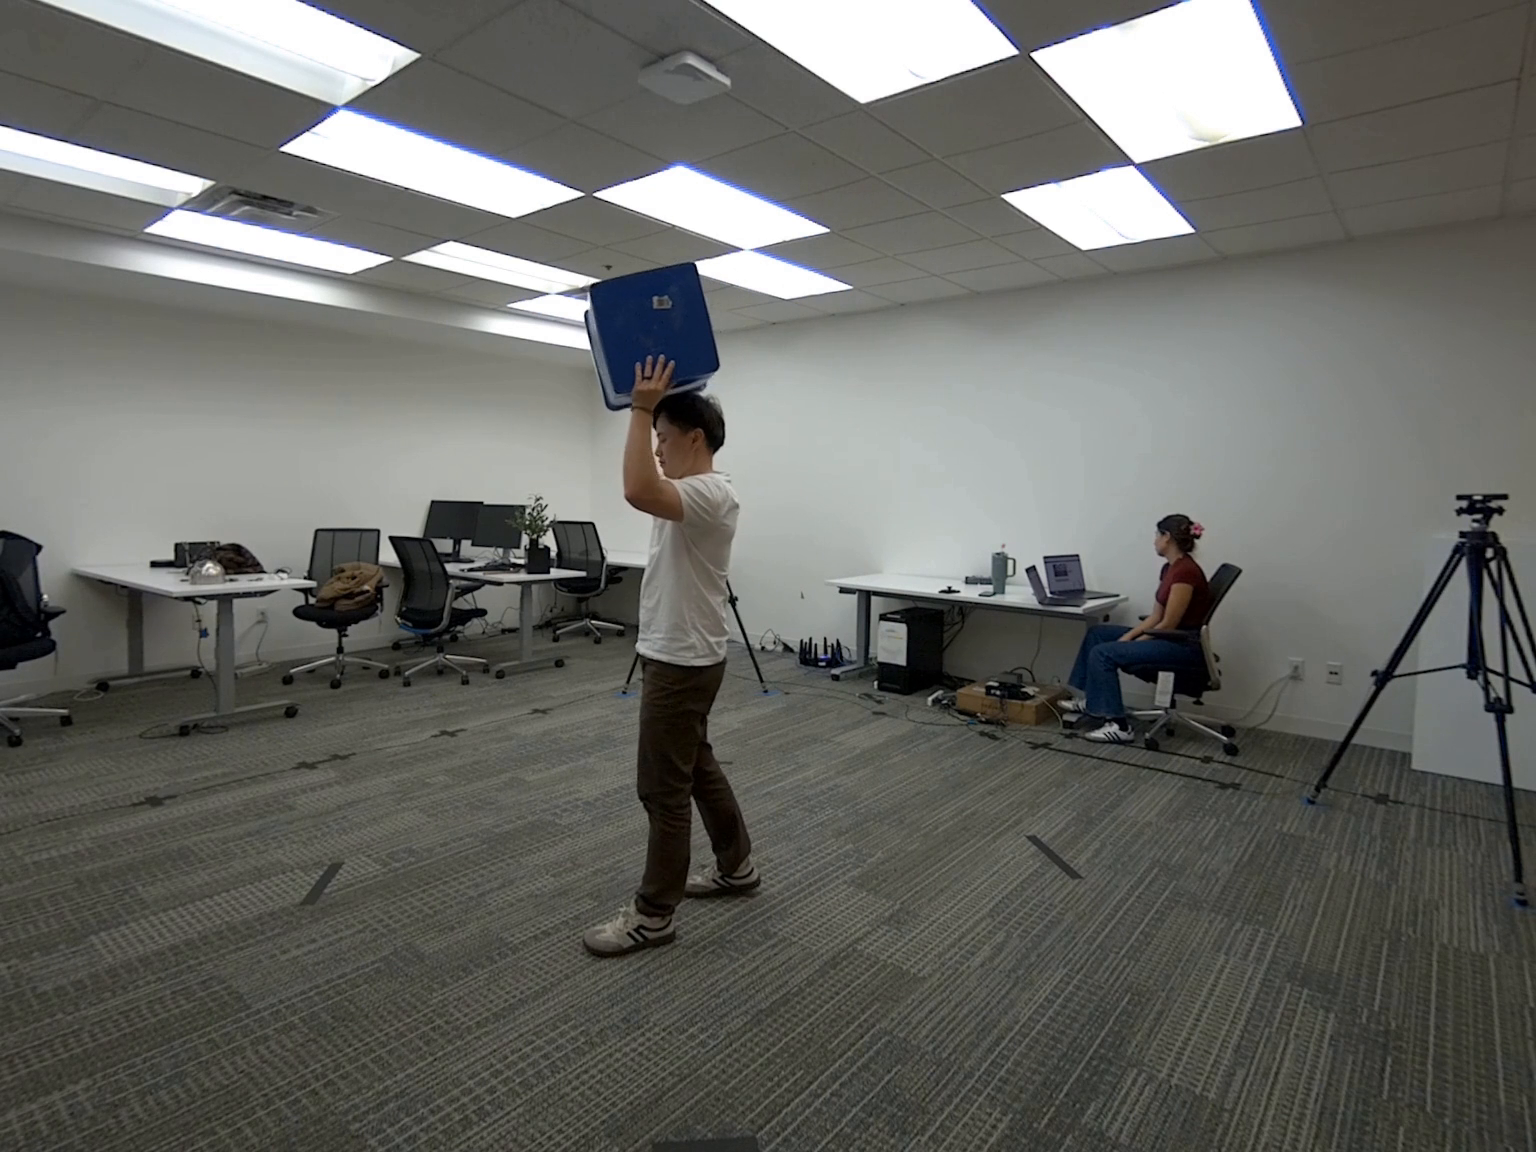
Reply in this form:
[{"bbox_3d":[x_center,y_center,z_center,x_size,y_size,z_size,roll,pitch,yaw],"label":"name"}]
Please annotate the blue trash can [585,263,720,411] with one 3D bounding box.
[{"bbox_3d":[-0.385,-0.739,2.651,0.372,0.373,0.725,-14,12,-6],"label":"blue trash can"}]
